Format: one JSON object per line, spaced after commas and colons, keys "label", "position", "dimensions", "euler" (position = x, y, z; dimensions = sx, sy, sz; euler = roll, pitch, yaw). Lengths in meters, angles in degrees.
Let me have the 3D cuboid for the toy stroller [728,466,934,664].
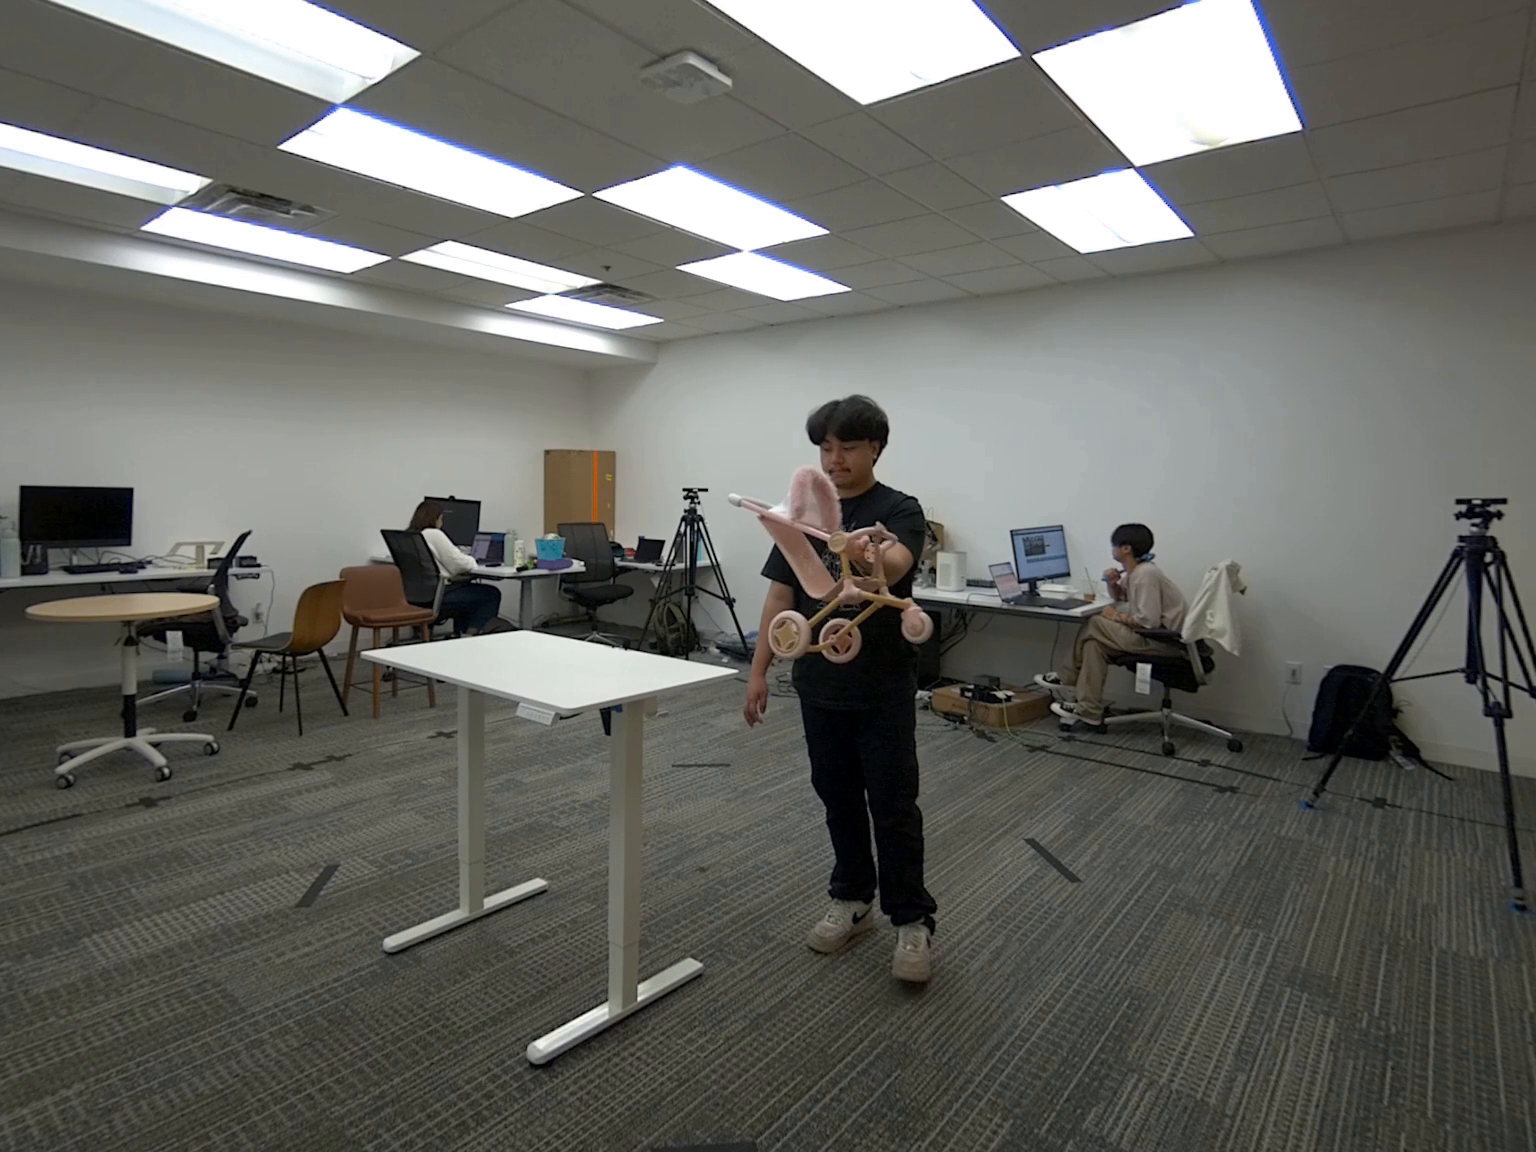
{"label": "toy stroller", "position": [0.145, -0.039, 2.022], "dimensions": [0.344, 0.549, 0.271], "euler": [-33, -26, 31]}
